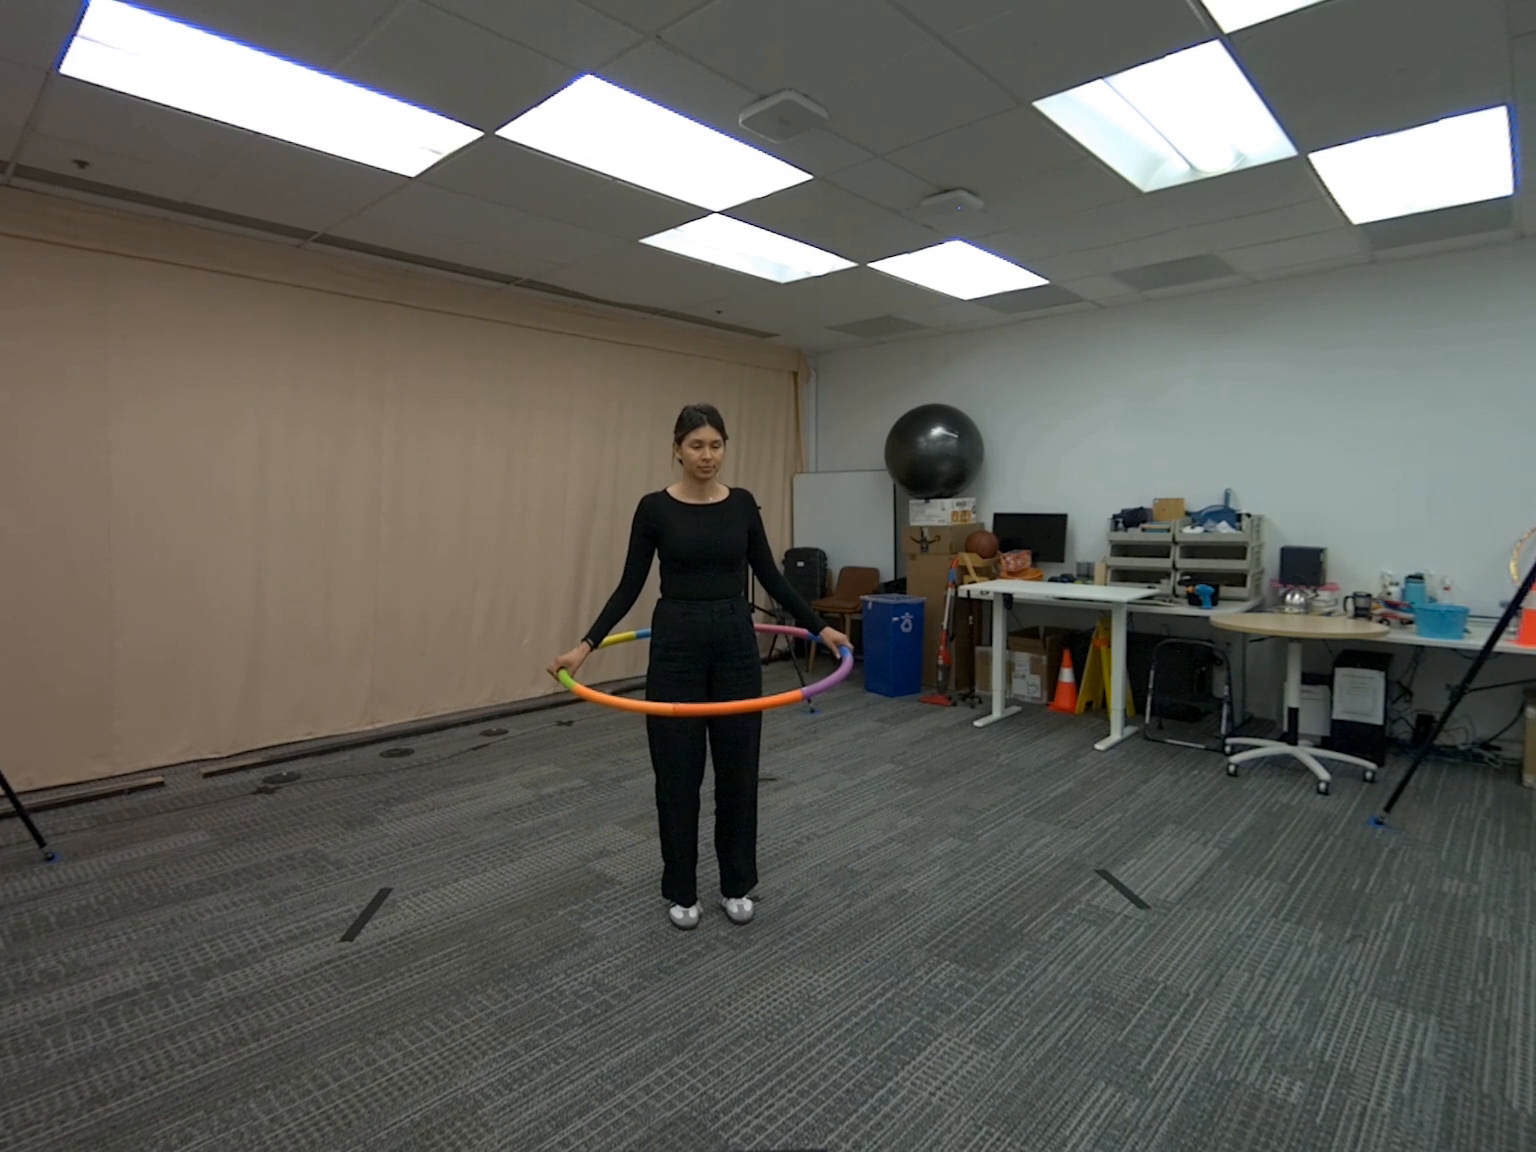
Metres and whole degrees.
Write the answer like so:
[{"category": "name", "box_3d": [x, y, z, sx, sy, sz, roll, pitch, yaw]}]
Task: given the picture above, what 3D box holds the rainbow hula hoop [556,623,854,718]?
[{"category": "rainbow hula hoop", "box_3d": [-0.212, 0.278, 2.818, 0.978, 0.035, 0.986, -3, 10, -1]}]
